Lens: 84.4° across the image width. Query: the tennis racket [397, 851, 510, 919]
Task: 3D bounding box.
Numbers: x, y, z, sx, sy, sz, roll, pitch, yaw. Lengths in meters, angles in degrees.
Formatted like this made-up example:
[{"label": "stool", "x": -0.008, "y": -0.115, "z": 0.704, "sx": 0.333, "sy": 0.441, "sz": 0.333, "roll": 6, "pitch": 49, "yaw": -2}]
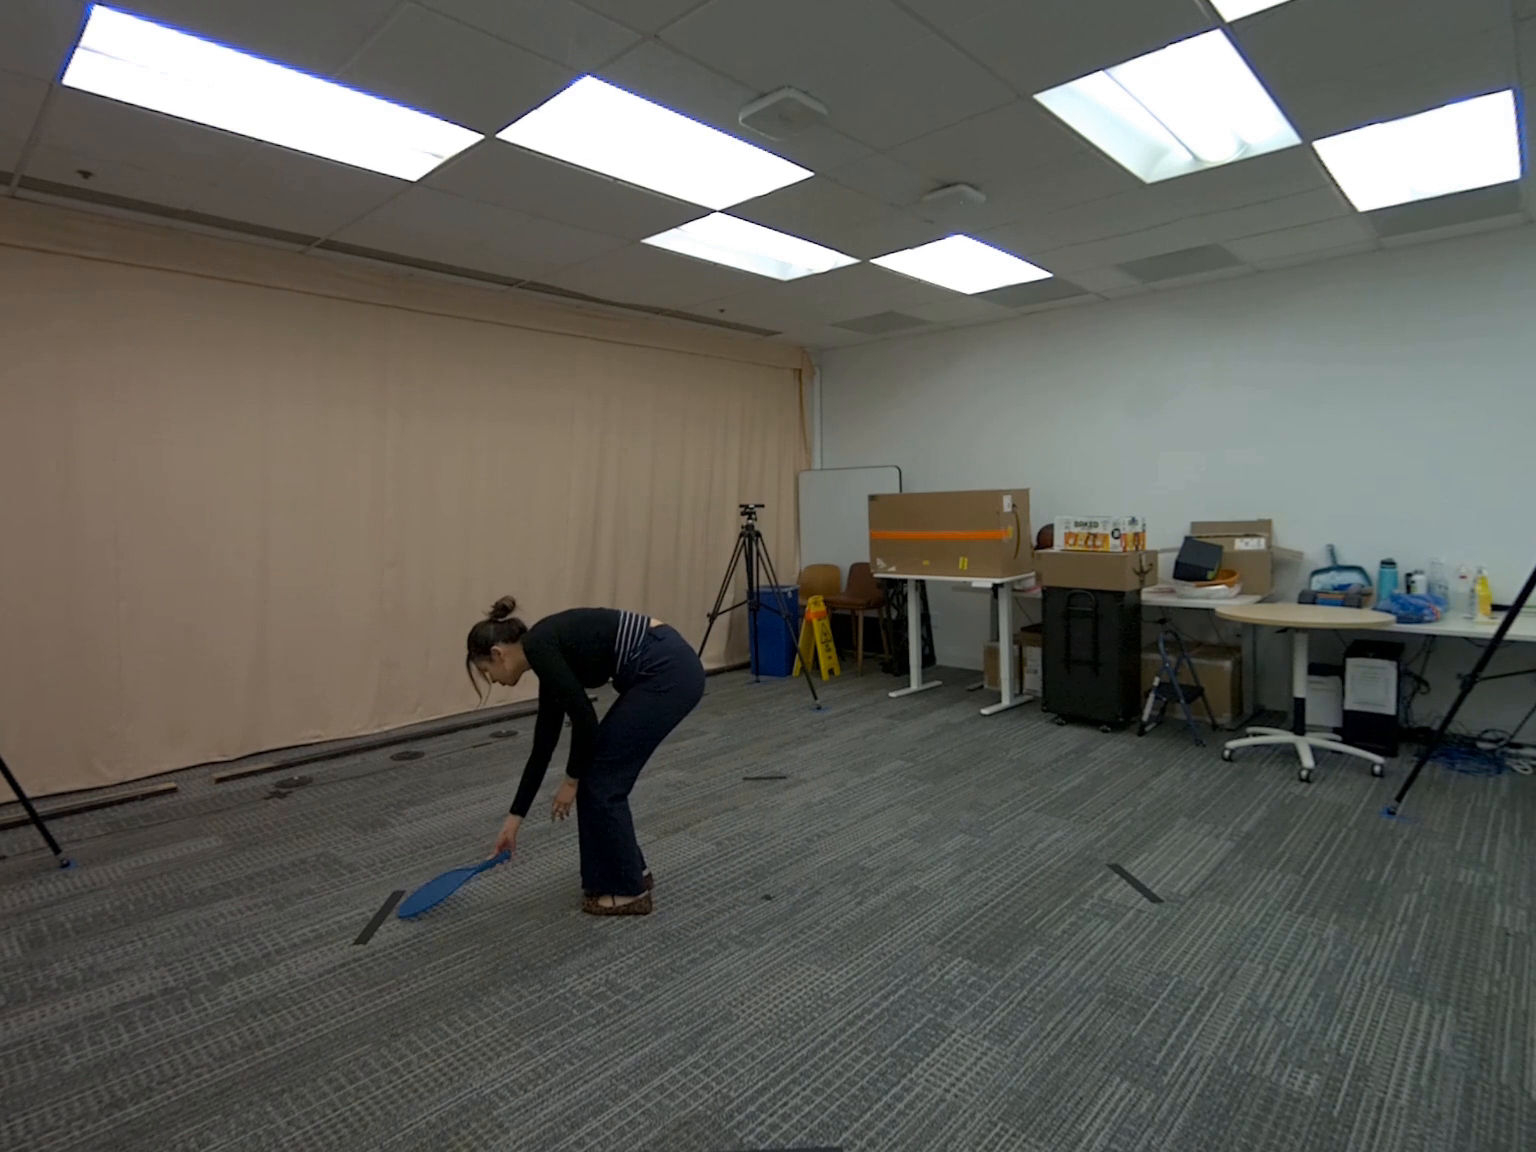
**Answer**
[{"label": "tennis racket", "x": -1.077, "y": 1.091, "z": 2.964, "sx": 0.431, "sy": 0.031, "sz": 0.216, "roll": -31, "pitch": 10, "yaw": -6}]
